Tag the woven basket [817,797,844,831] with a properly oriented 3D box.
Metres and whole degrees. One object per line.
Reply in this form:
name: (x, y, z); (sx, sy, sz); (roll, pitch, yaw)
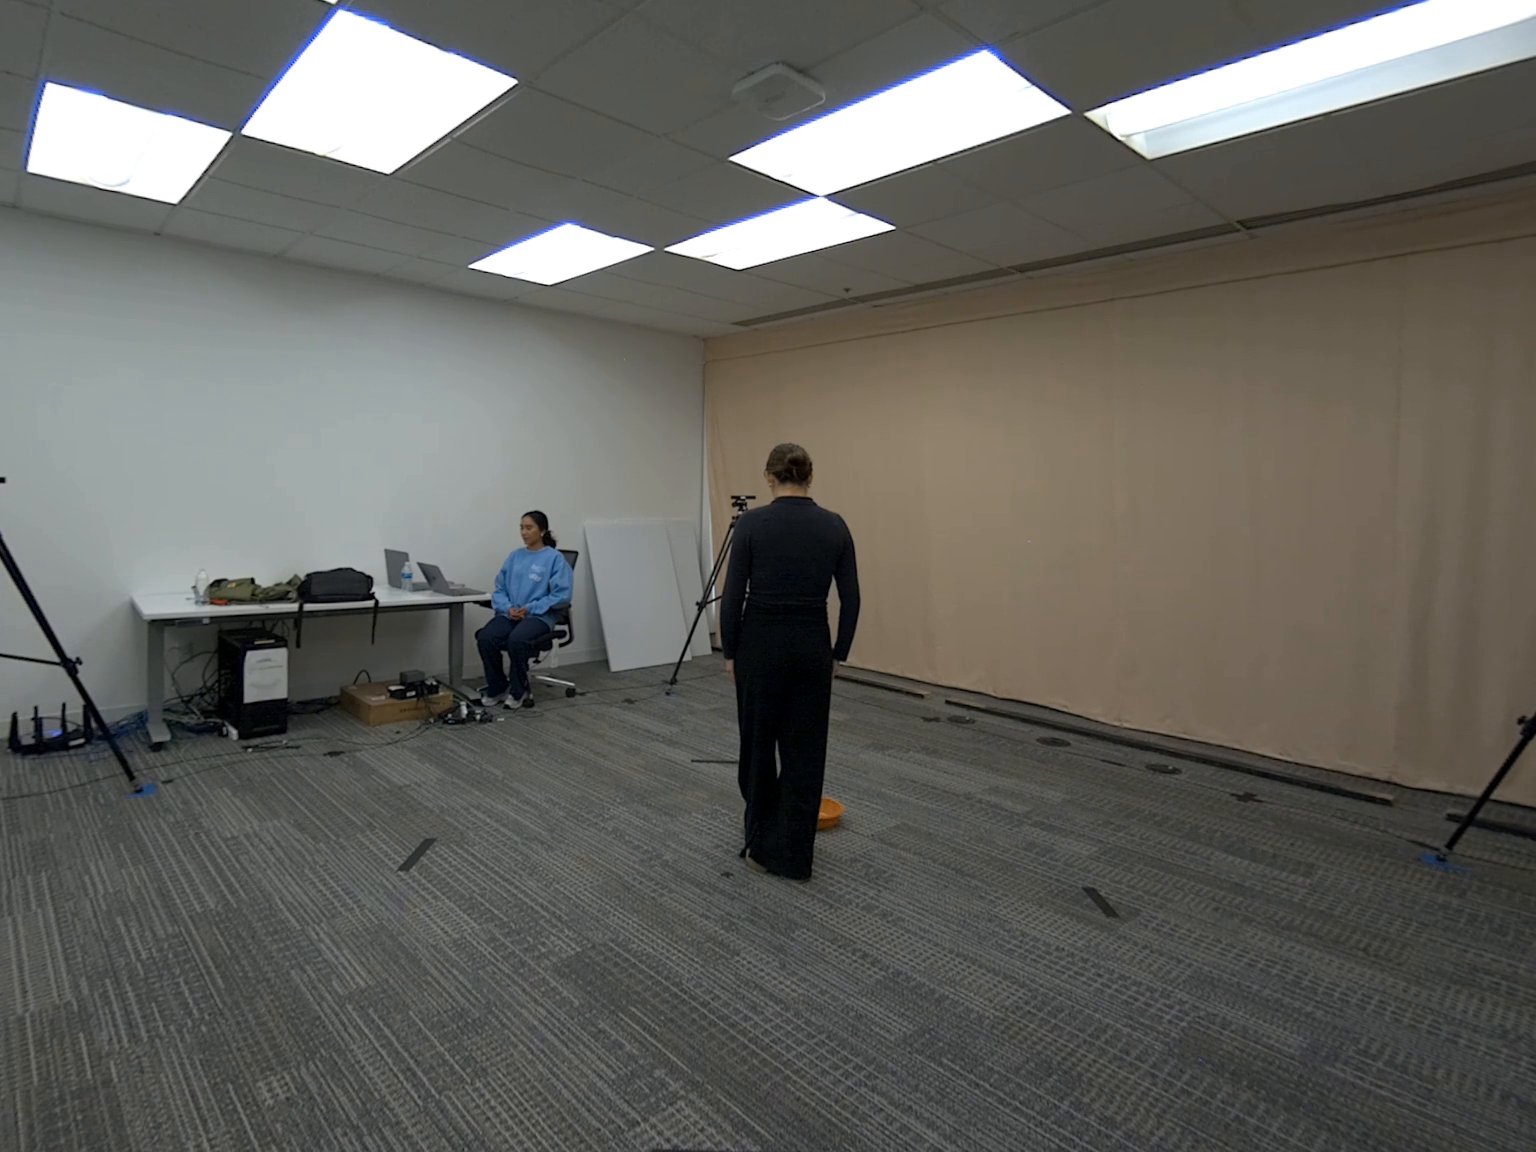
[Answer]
woven basket: (0.150, 1.026, 3.635); (0.348, 0.073, 0.255); (0, 7, -8)
